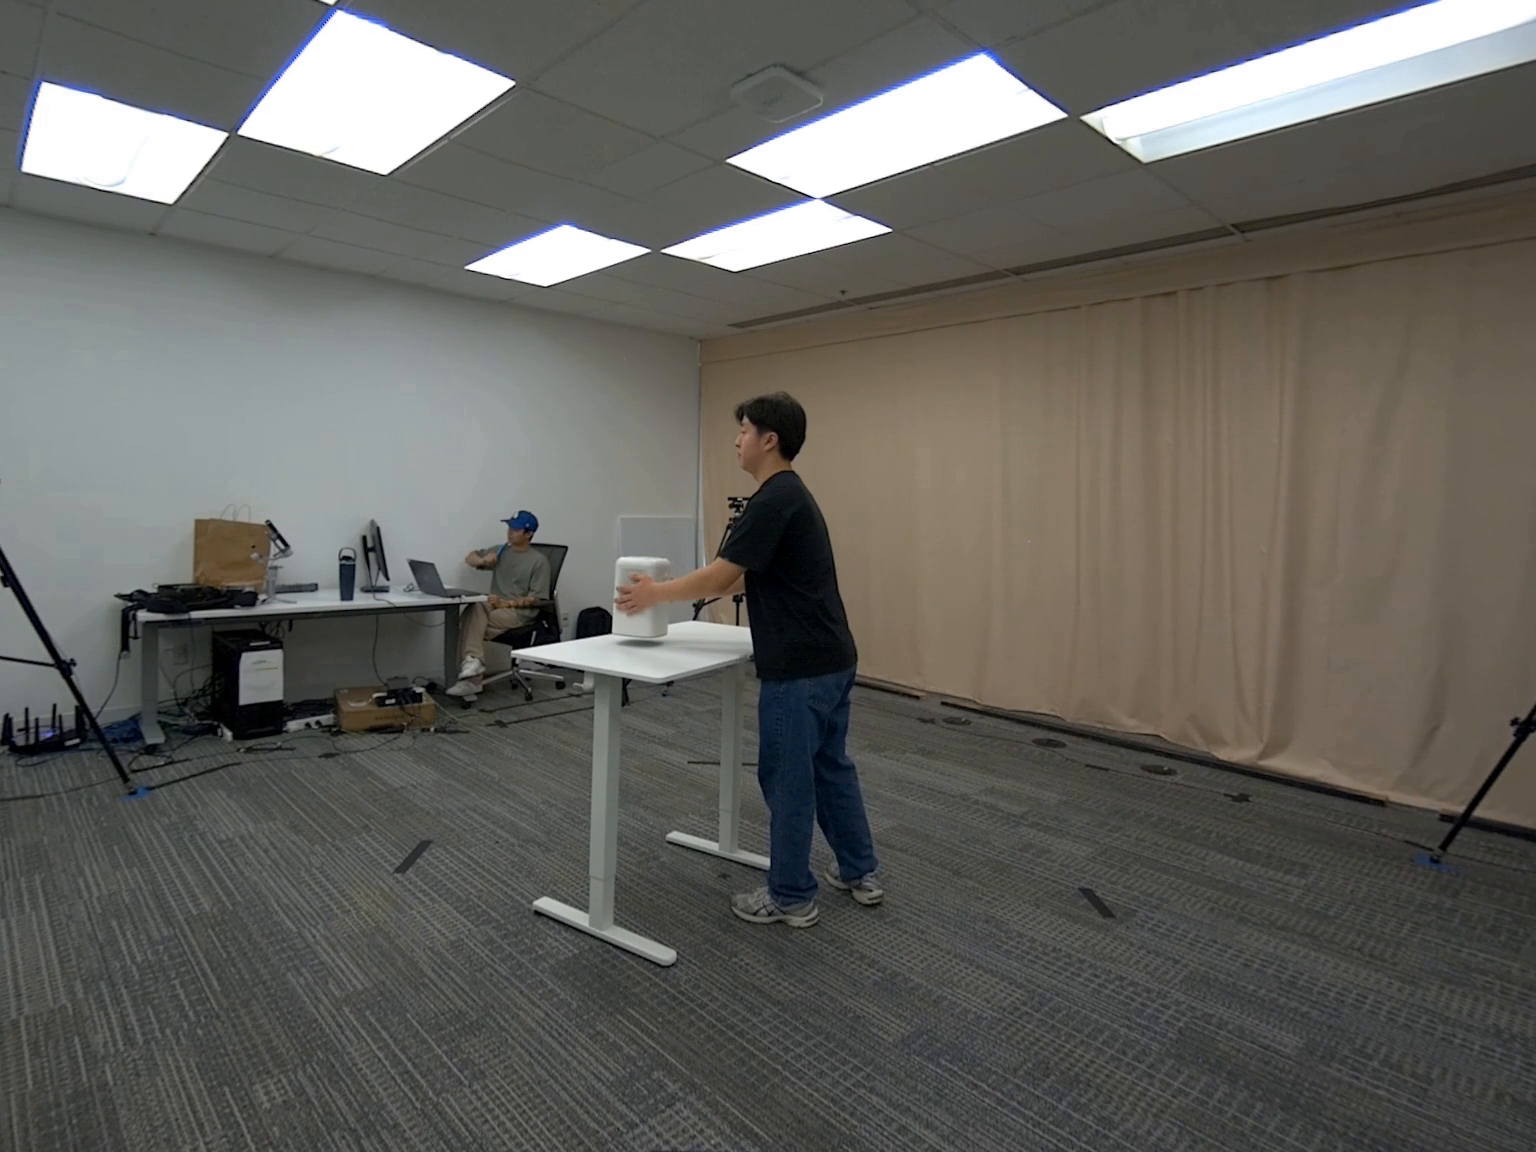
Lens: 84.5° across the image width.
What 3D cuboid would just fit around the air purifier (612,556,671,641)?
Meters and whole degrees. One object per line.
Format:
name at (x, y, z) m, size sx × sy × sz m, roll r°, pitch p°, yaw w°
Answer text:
air purifier at (-0.432, 0.070, 2.903) m, size 0.174 × 0.265 × 0.169 m, roll 4°, pitch 2°, yaw 14°
